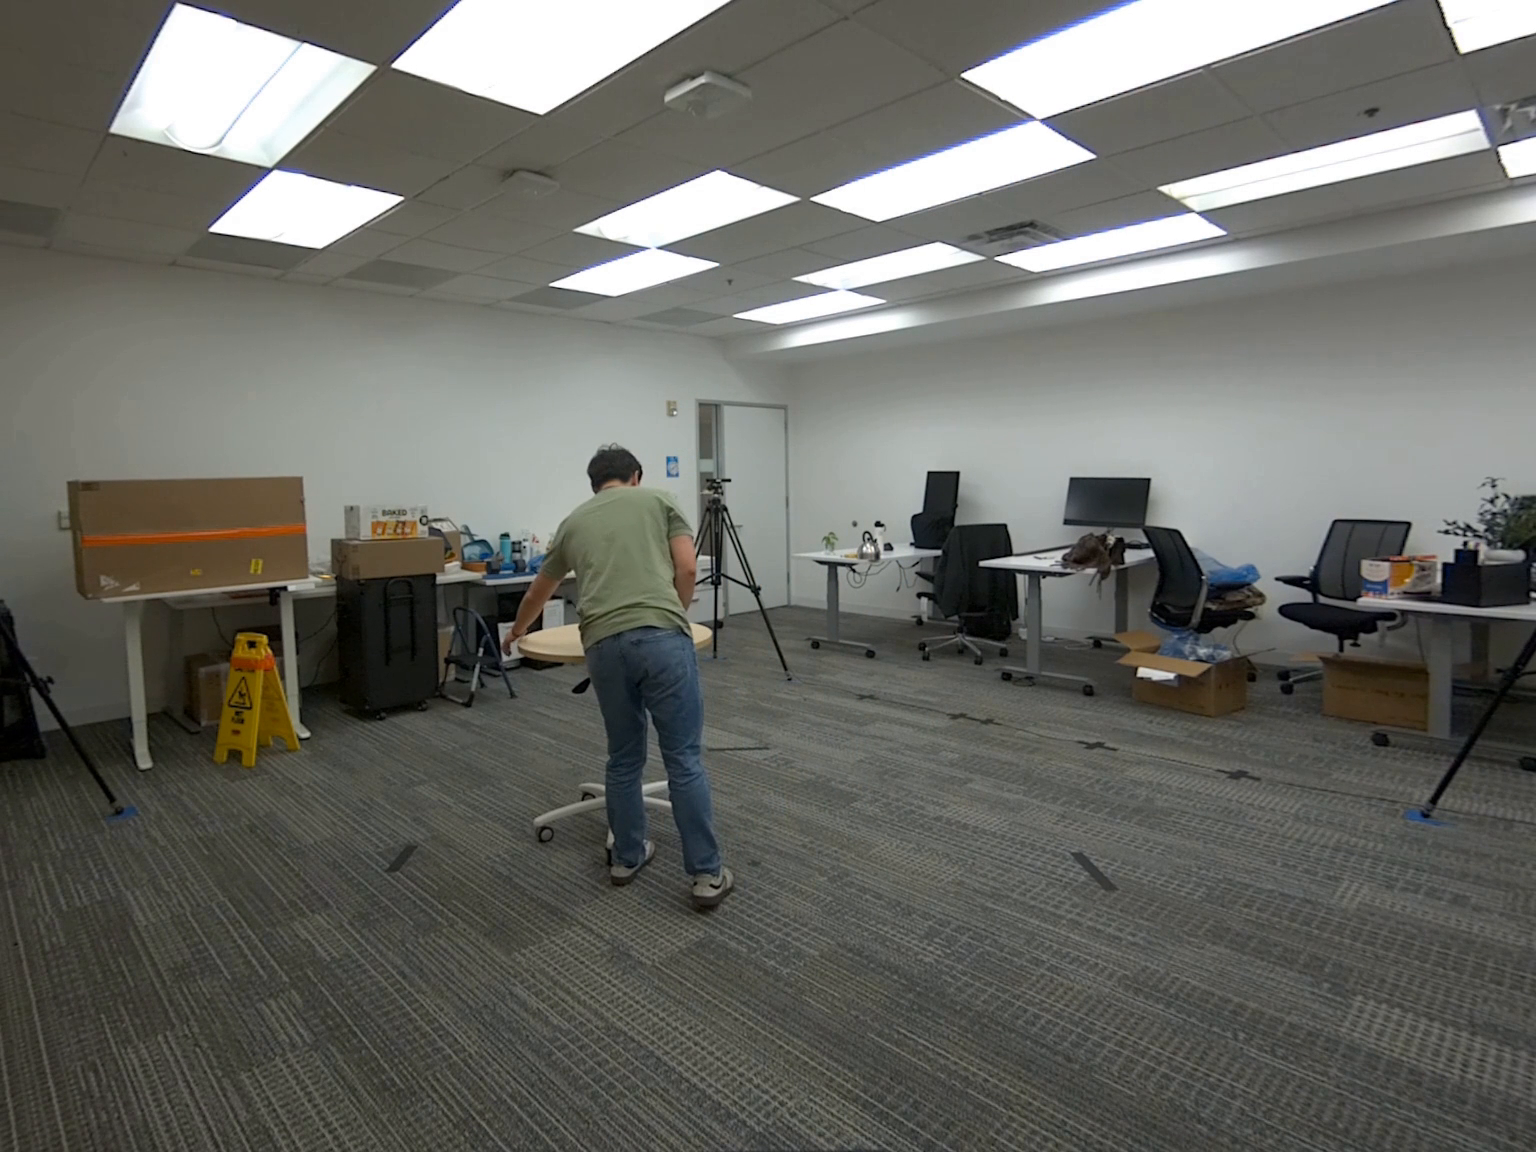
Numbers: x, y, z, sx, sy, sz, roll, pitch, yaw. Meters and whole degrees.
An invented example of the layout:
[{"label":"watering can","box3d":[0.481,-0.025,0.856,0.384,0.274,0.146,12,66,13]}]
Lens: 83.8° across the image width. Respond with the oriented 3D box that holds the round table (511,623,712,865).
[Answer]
[{"label":"round table","box3d":[-0.590,0.631,3.418,0.763,0.791,0.767,-2,4,-2]}]
